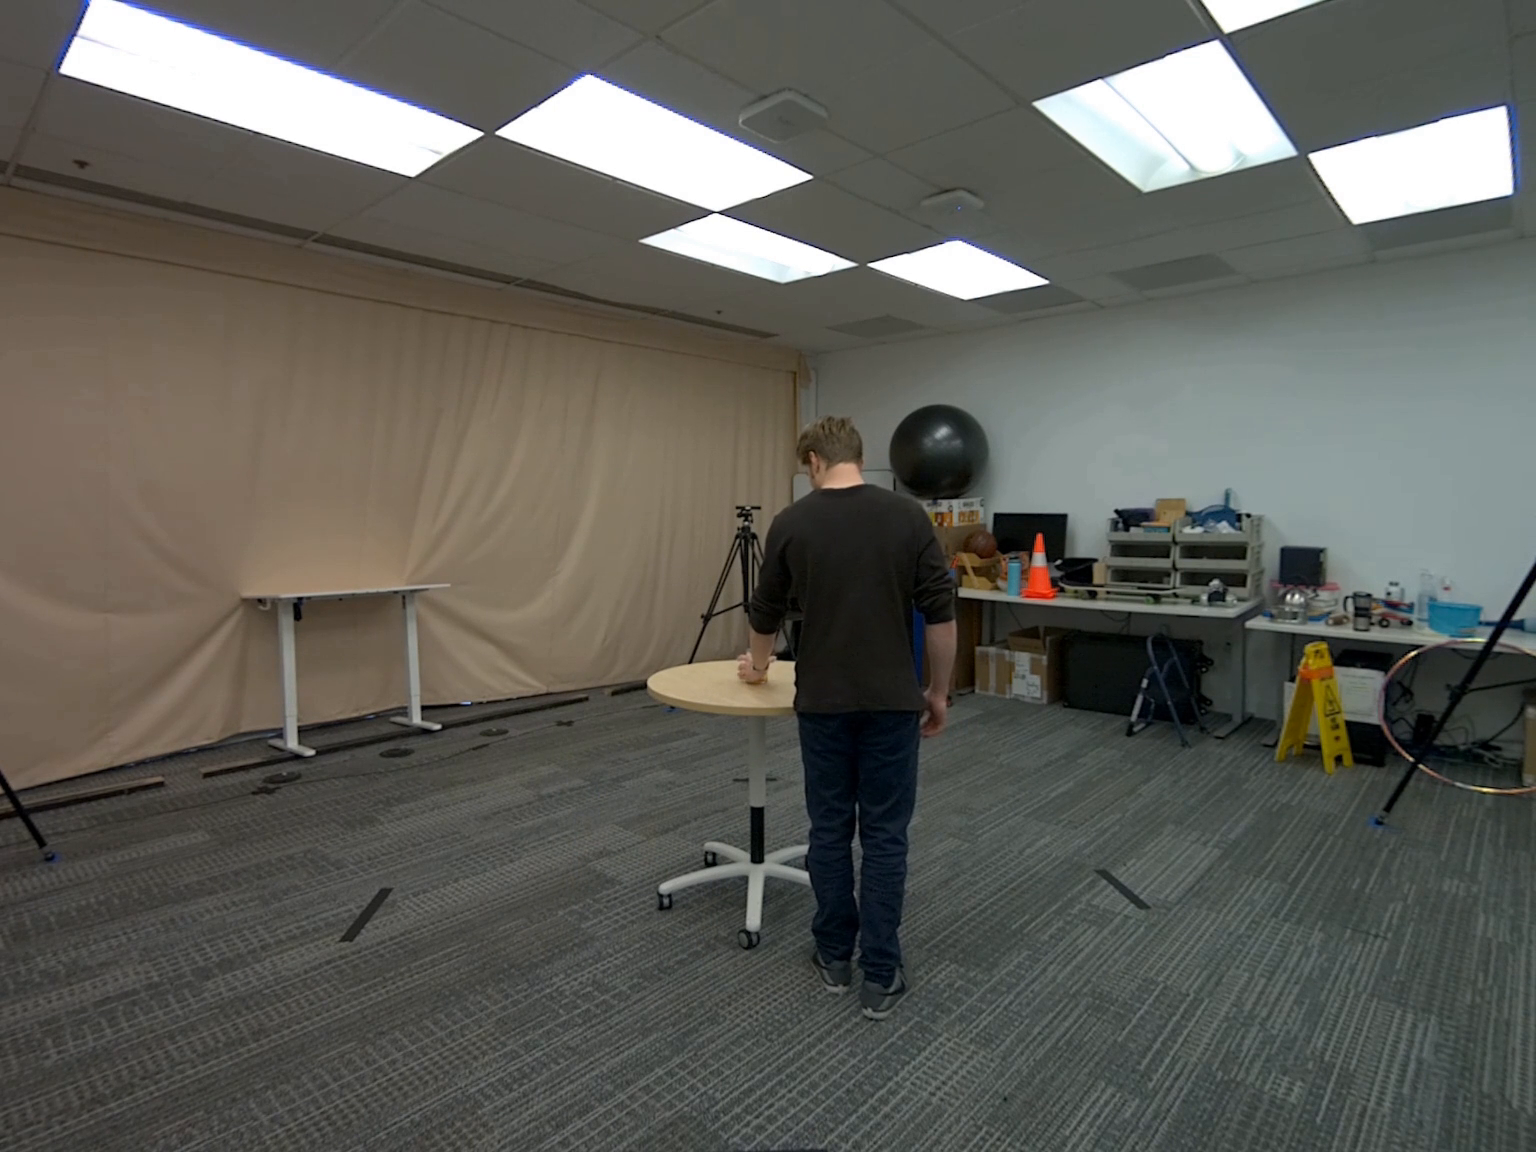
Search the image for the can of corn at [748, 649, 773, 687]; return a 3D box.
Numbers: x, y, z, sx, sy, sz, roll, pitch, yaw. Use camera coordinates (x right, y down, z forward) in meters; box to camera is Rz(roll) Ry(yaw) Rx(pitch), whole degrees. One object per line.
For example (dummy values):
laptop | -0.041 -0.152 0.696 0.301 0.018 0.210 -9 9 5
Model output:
can of corn | -0.029 0.311 2.897 0.074 0.110 0.074 -2 6 -2
